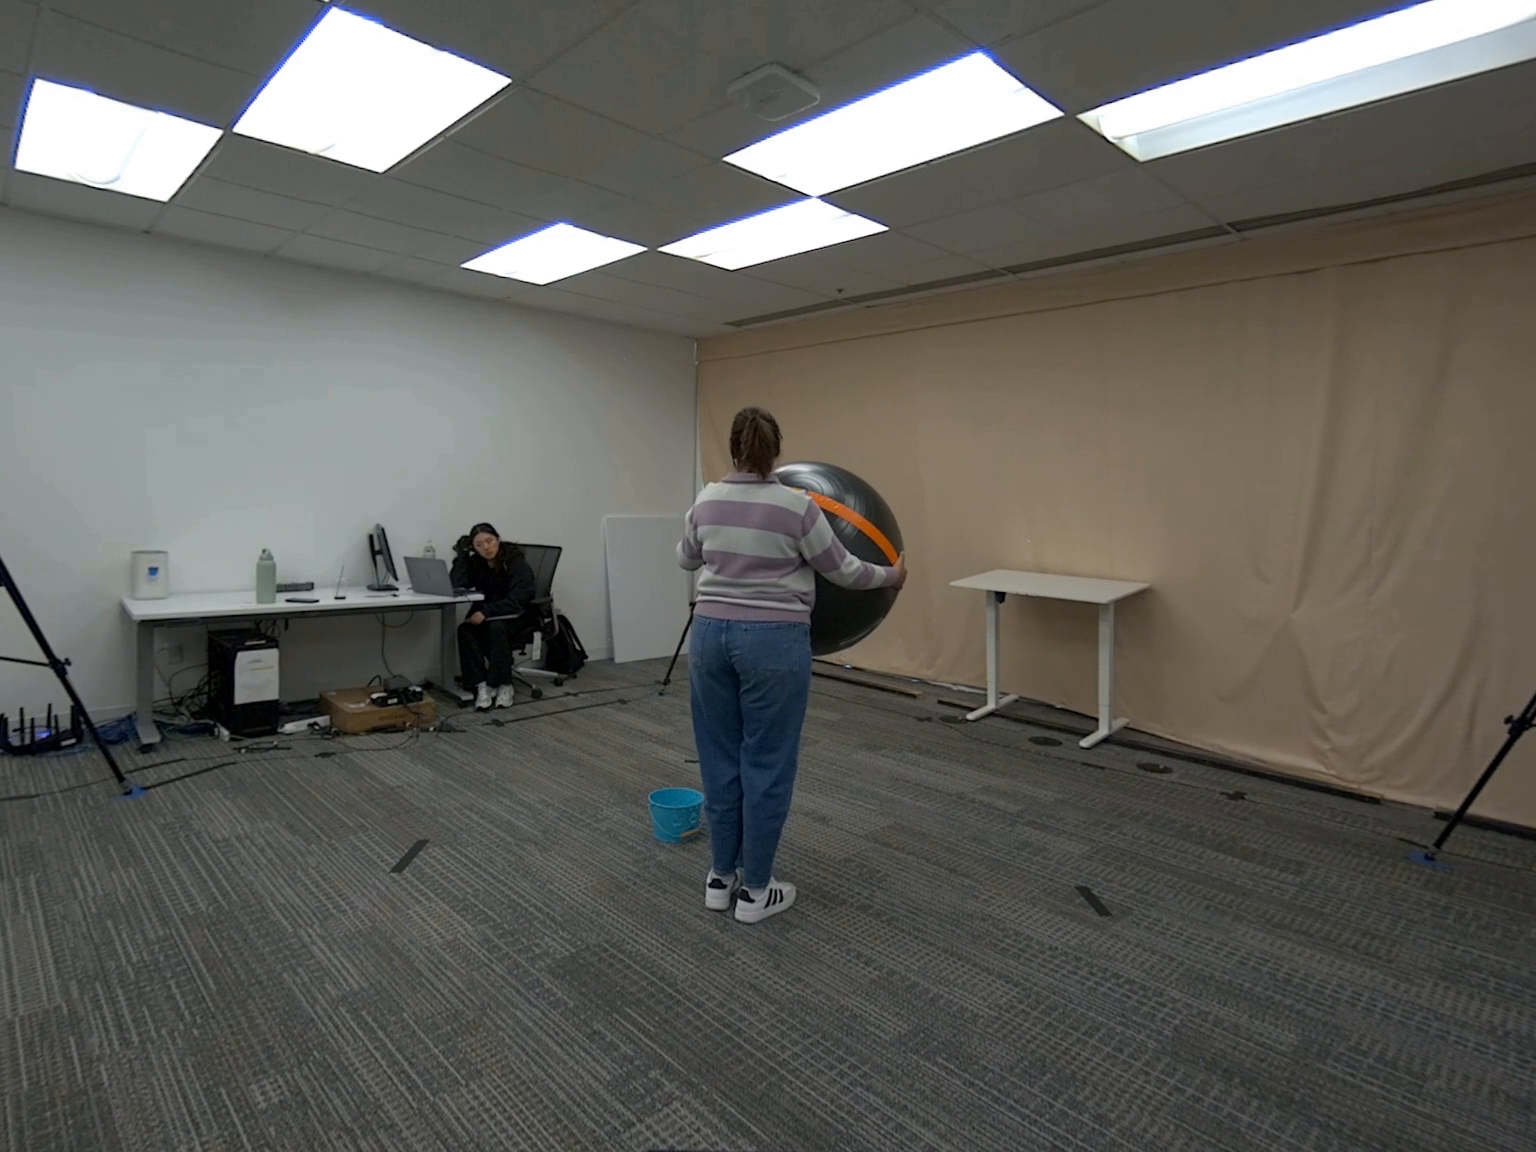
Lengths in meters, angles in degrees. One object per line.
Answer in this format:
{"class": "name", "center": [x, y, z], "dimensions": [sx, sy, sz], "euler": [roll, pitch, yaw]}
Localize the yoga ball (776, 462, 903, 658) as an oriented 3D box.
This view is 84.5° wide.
{"class": "yoga ball", "center": [0.151, -0.060, 3.274], "dimensions": [0.757, 0.756, 0.761], "euler": [1, 4, -1]}
